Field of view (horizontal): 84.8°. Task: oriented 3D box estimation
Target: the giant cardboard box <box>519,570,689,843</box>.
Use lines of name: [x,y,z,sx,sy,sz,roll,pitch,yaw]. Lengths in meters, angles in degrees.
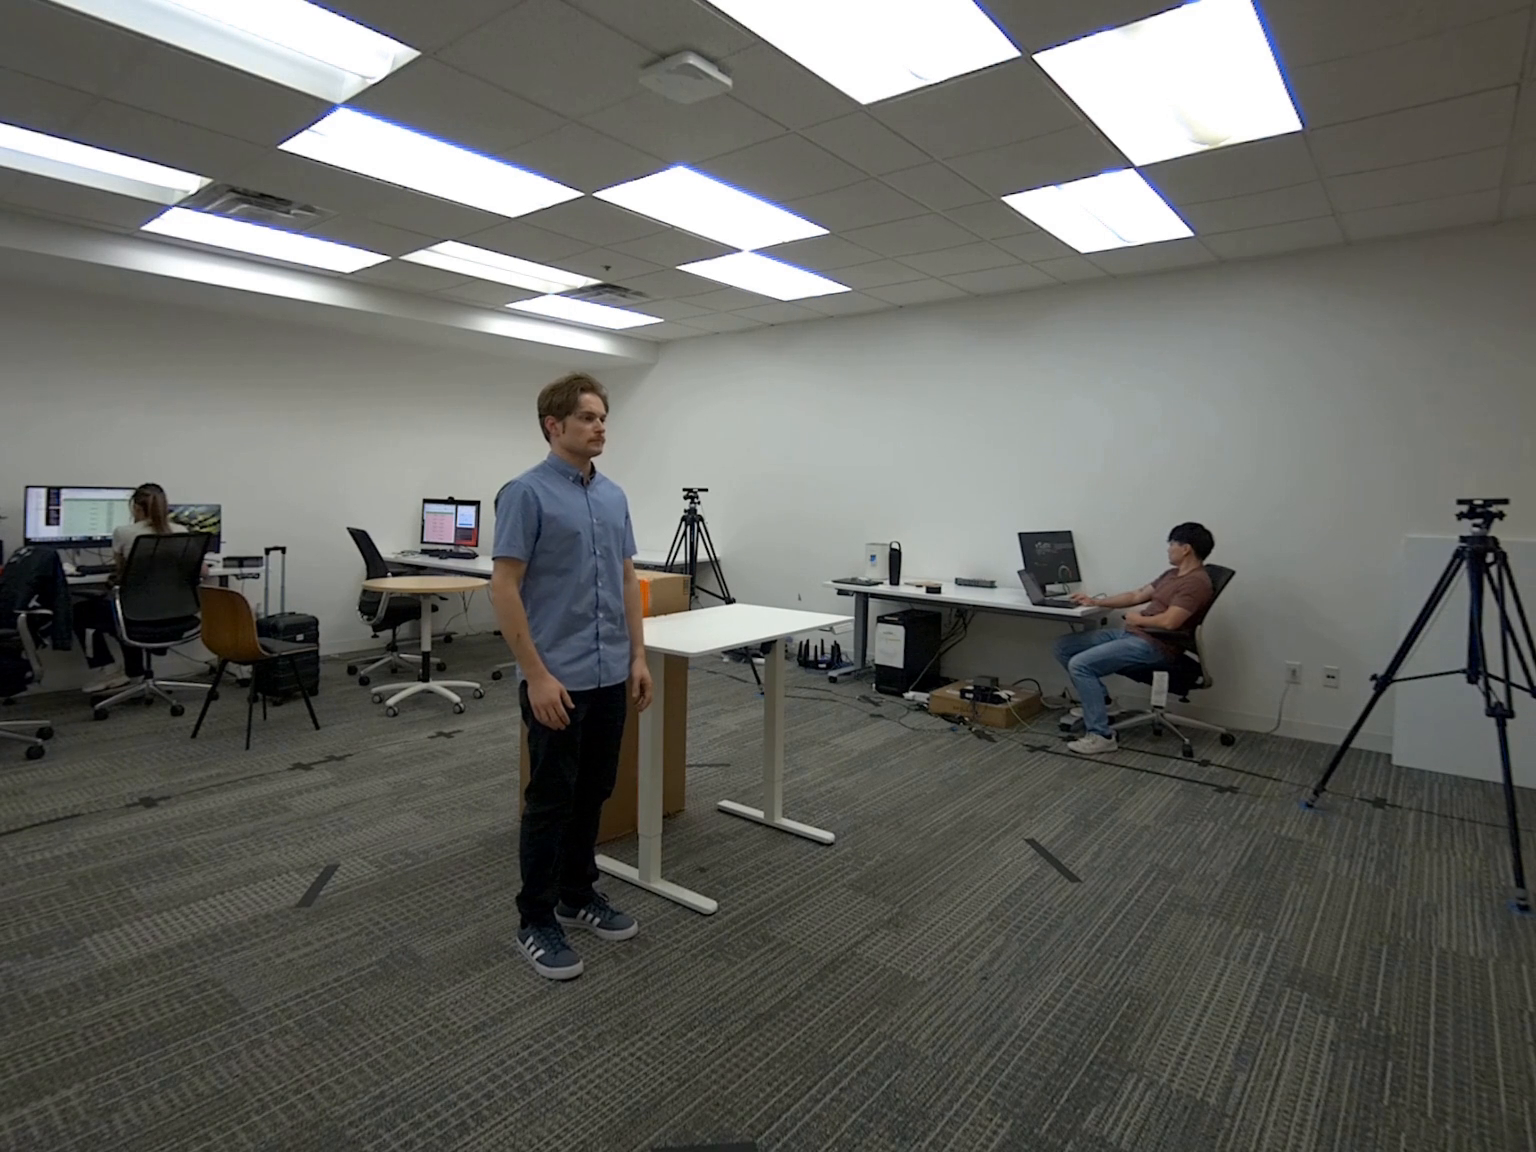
giant cardboard box: [-0.689,0.502,3.590,0.440,1.023,0.560,3,4,38]
